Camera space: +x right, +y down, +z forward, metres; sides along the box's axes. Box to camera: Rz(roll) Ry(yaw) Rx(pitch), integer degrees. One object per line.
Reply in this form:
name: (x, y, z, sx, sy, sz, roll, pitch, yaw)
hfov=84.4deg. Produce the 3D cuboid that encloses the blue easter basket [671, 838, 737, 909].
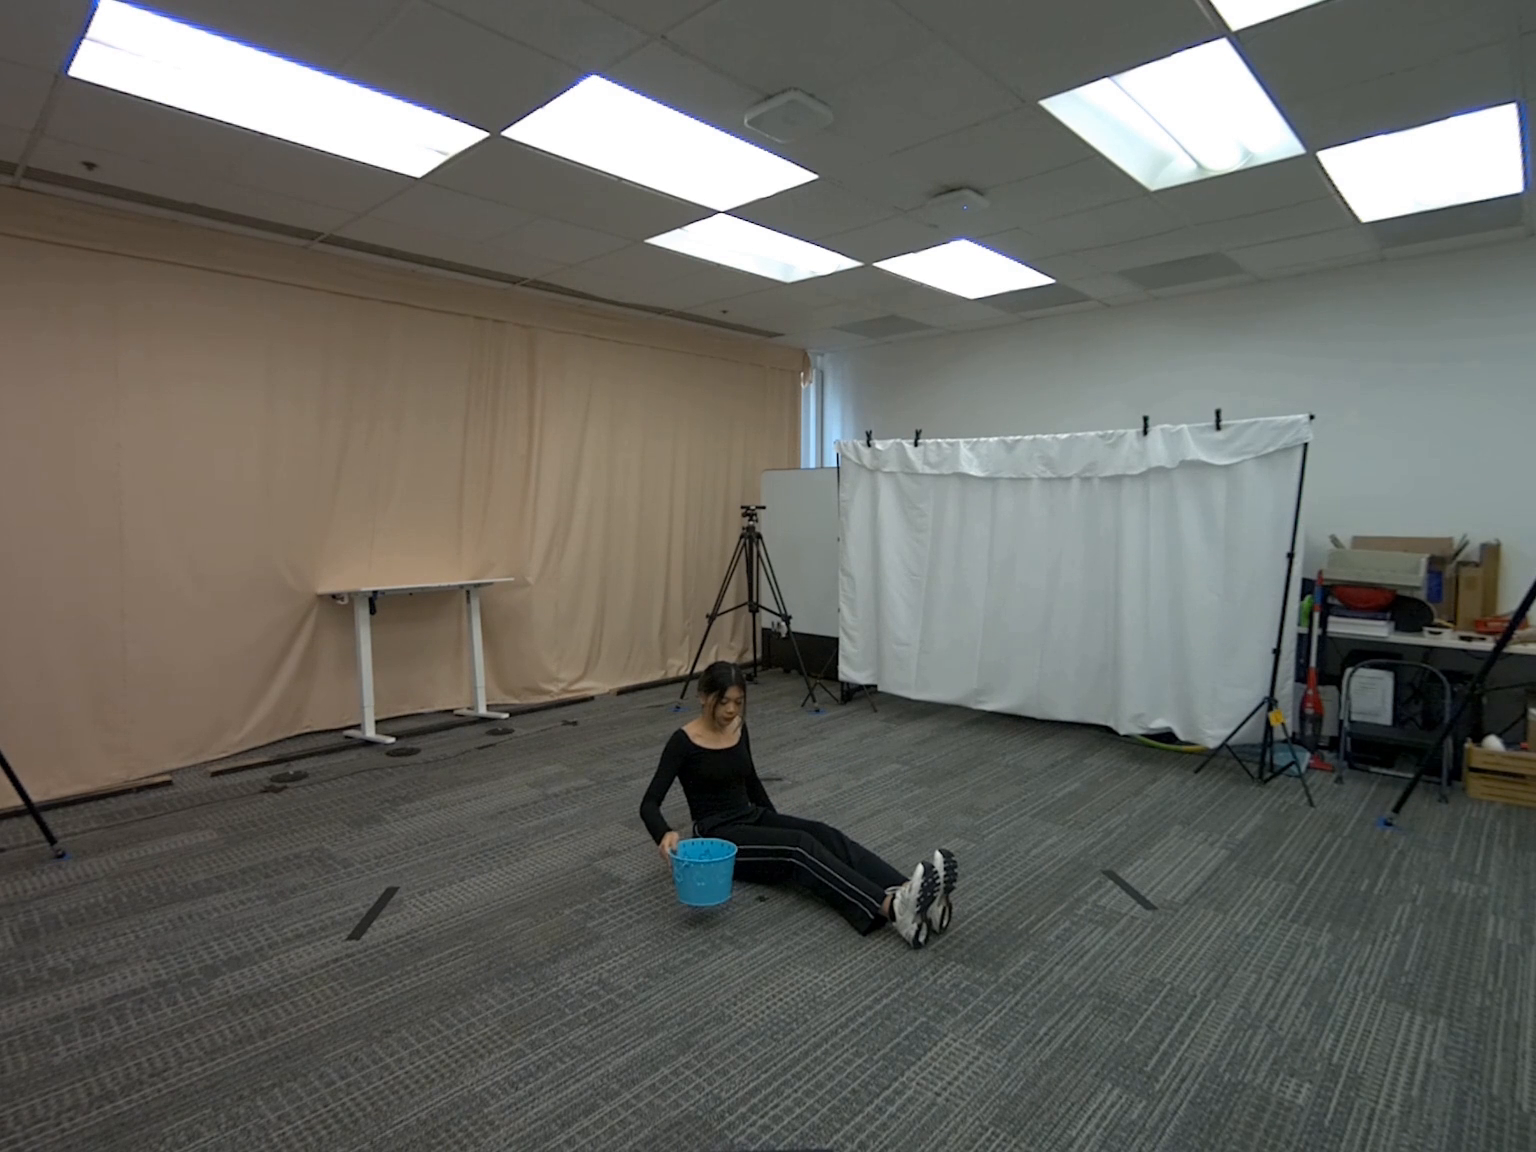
blue easter basket: (-0.224, 0.994, 2.834, 0.243, 0.156, 0.244, -1, 0, -2)
